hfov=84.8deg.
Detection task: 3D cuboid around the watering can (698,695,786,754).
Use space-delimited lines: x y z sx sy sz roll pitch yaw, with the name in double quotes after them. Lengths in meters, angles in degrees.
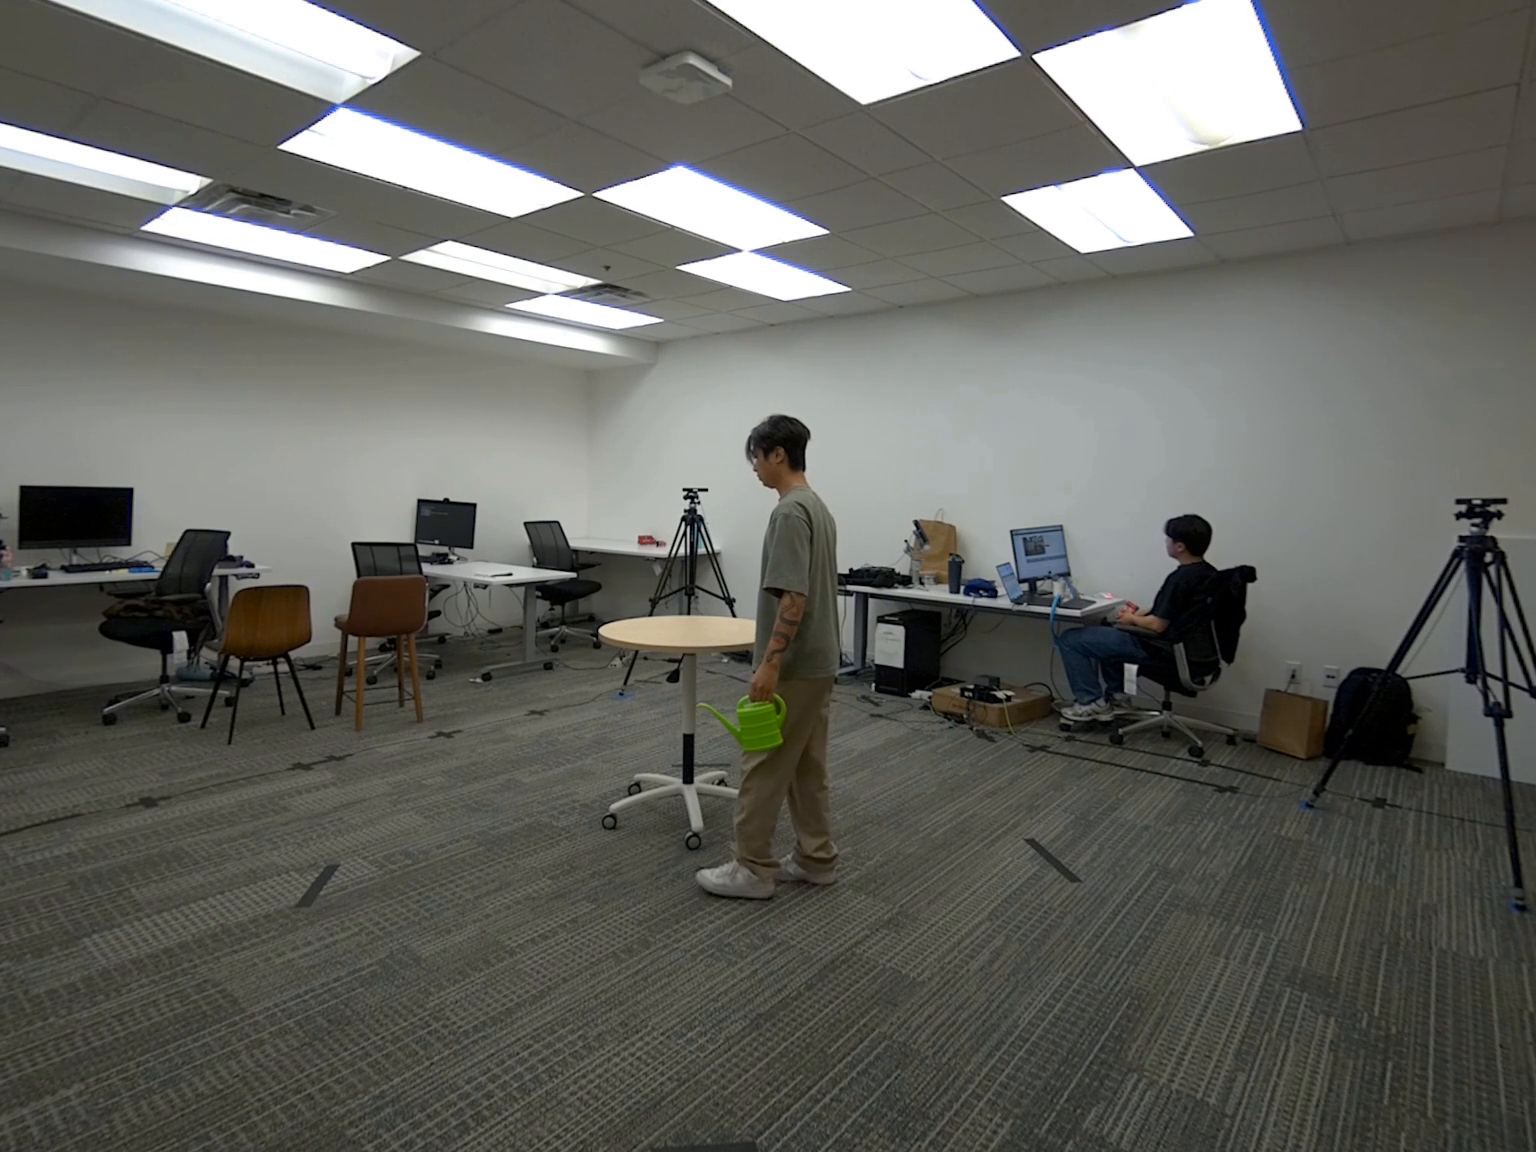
-0.083 0.471 2.762 0.282 0.177 0.097 -11 1 16 "watering can"
